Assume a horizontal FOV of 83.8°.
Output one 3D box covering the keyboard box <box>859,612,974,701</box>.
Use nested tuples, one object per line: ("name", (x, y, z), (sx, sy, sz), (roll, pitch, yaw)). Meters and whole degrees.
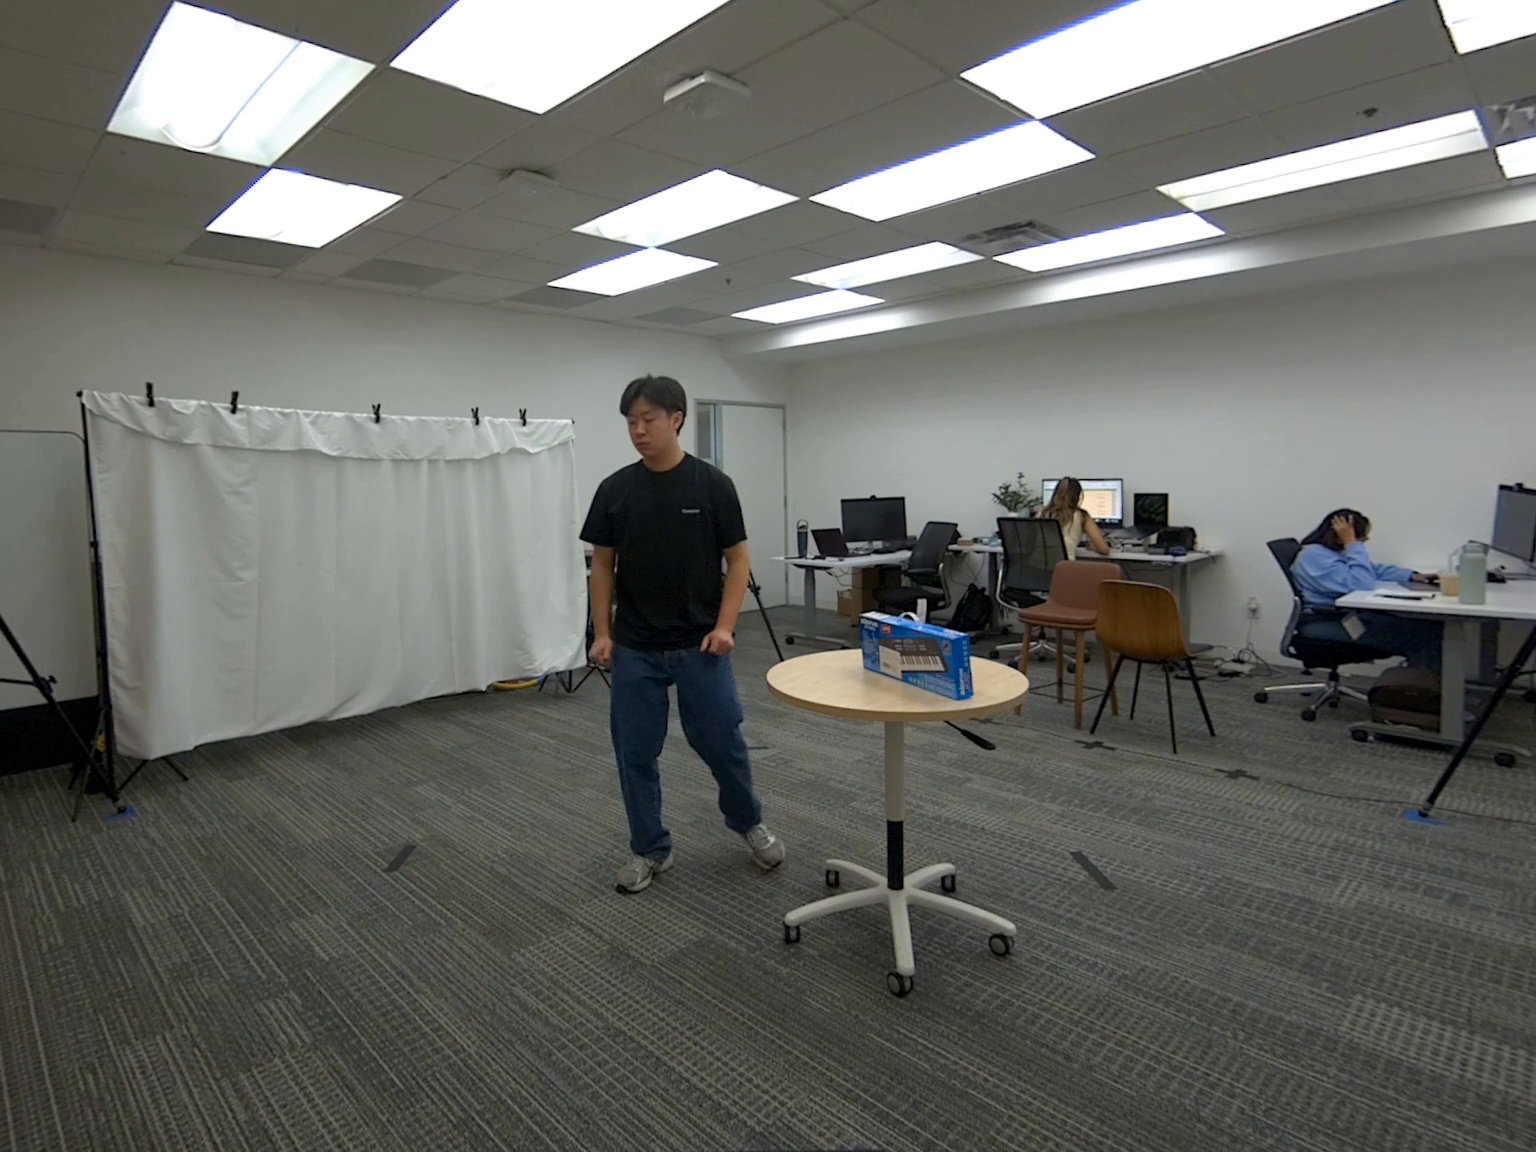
("keyboard box", (0.421, 0.225, 2.478), (0.058, 0.175, 0.448), (-8, 9, -26))
